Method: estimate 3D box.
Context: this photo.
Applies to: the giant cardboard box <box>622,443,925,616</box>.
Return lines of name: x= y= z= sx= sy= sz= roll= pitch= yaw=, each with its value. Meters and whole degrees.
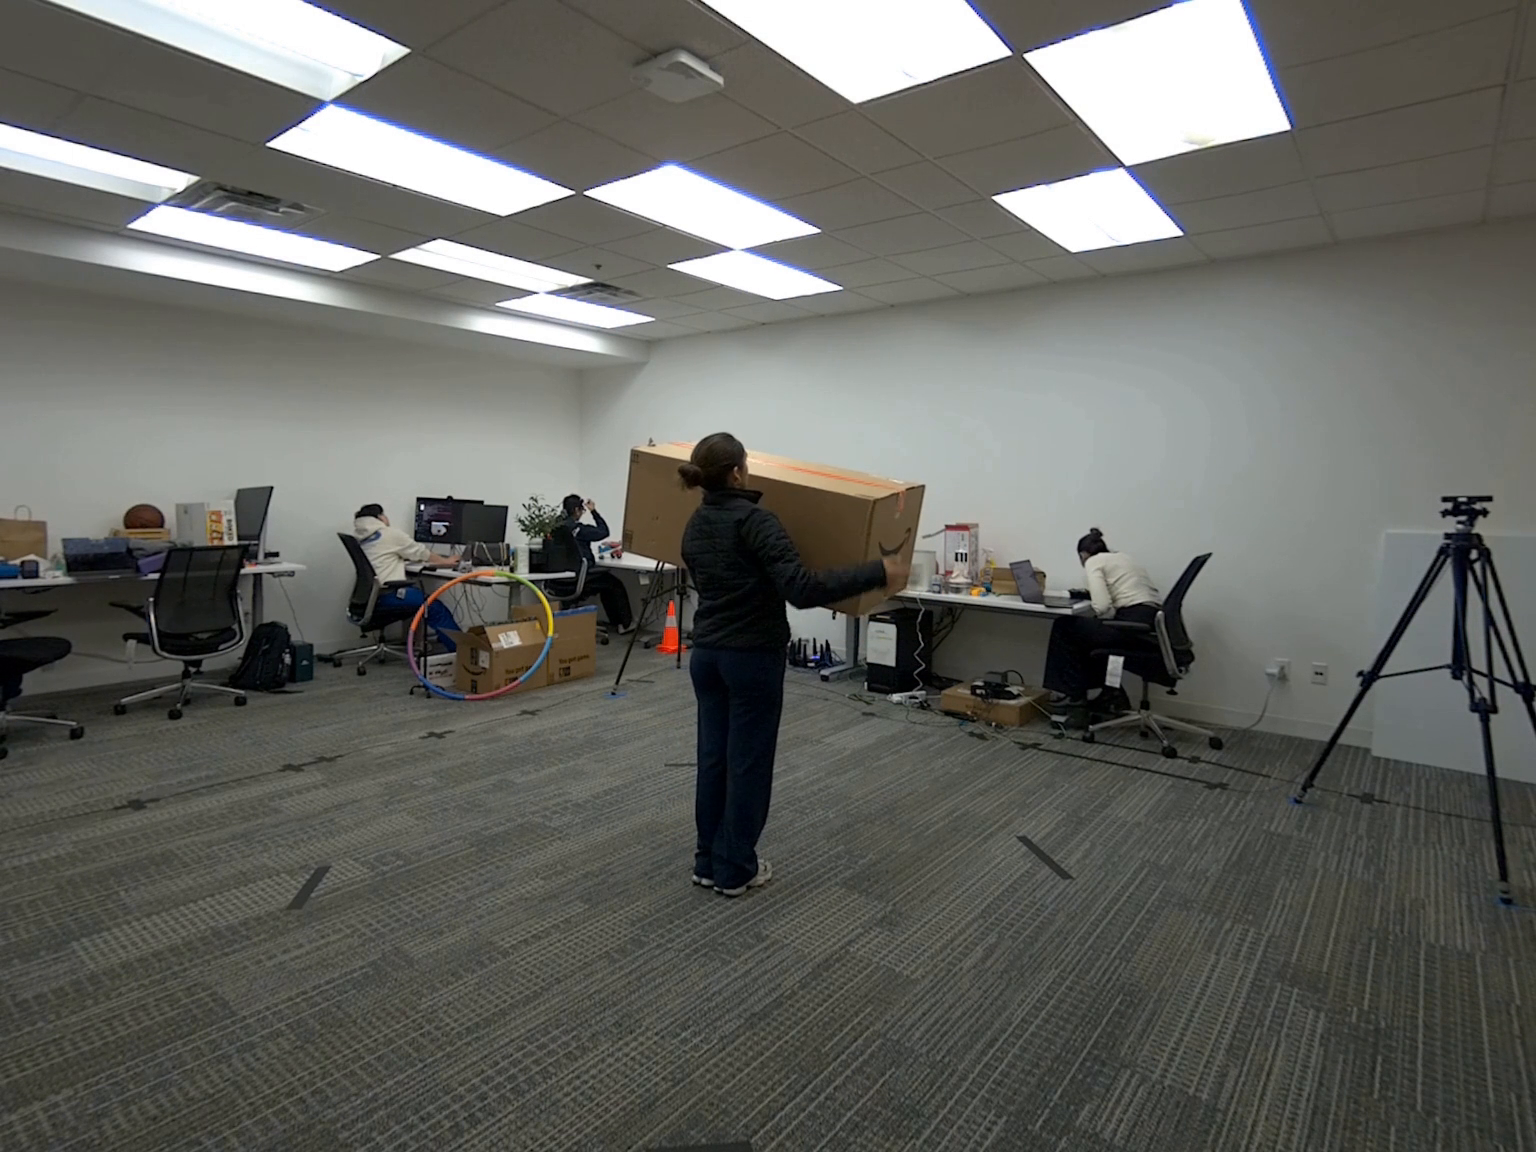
giant cardboard box: x=0.029 y=-0.234 z=3.376 sx=1.059 sy=0.421 sz=0.566 roll=15 pitch=16 yaw=27
